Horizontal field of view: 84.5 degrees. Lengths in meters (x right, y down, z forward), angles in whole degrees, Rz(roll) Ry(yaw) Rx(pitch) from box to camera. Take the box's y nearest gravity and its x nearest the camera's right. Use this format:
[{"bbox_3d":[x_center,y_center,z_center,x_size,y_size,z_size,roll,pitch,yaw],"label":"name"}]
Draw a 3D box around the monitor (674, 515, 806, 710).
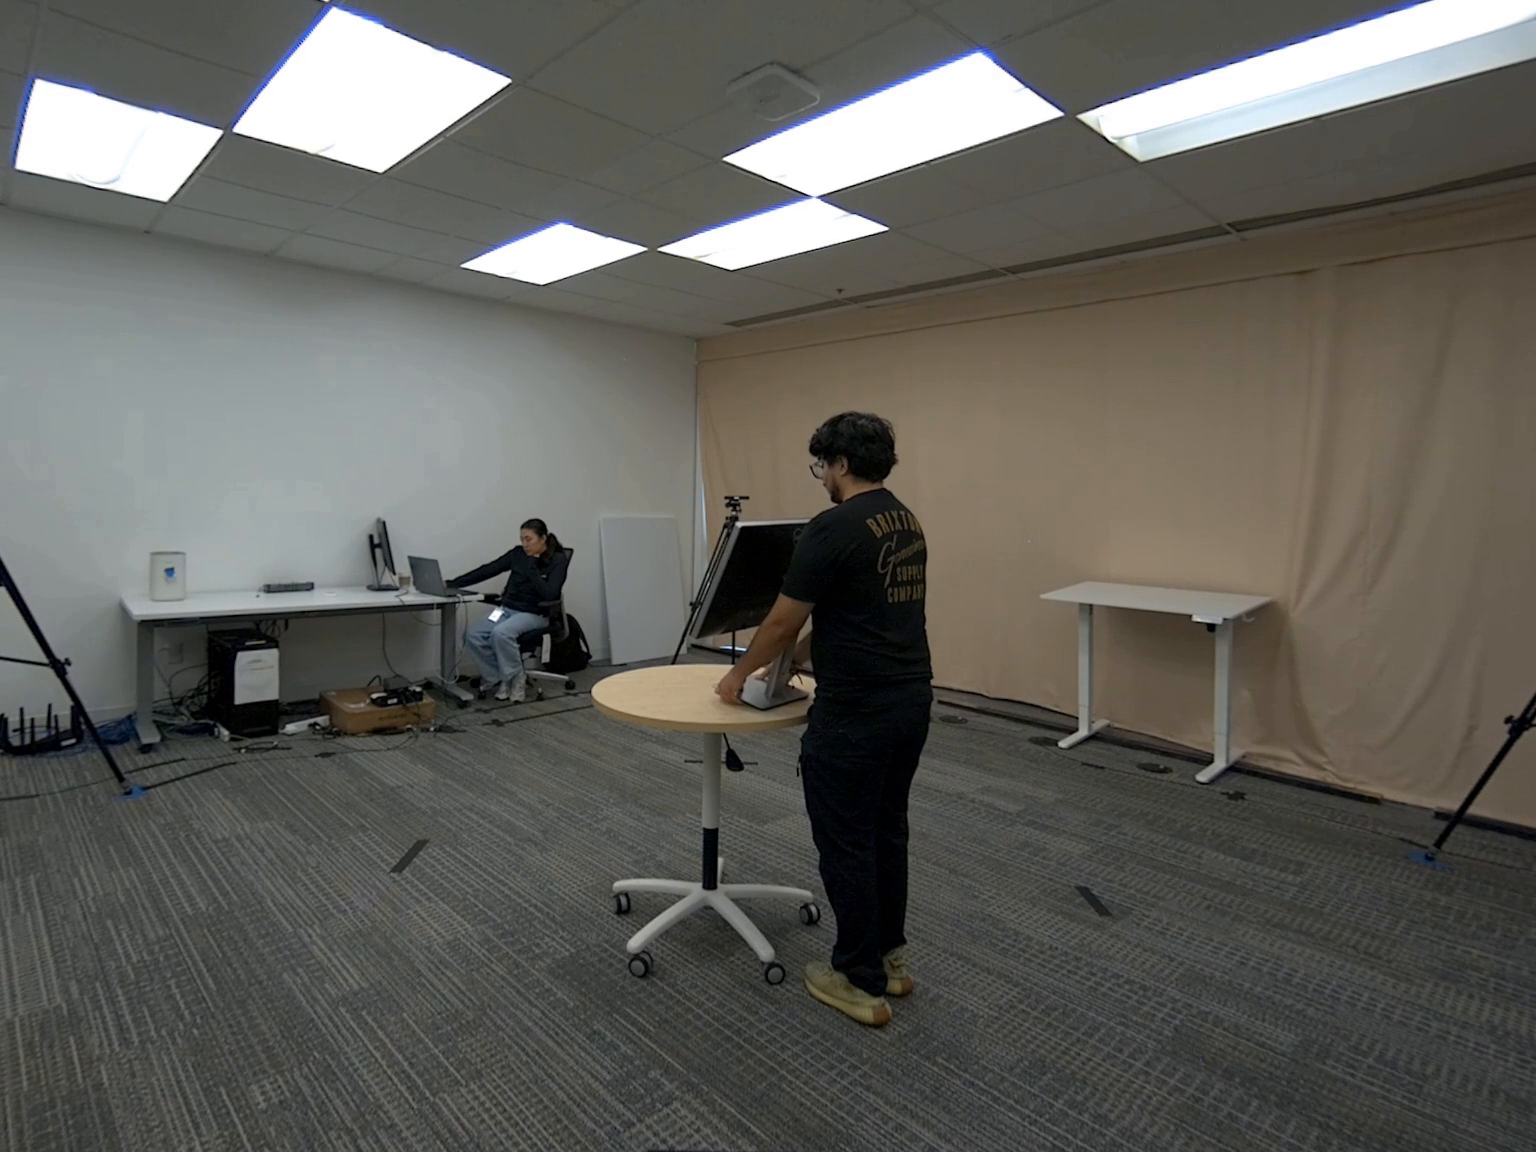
[{"bbox_3d":[0.038,0.109,2.496,0.216,0.550,0.553,27,19,33],"label":"monitor"}]
